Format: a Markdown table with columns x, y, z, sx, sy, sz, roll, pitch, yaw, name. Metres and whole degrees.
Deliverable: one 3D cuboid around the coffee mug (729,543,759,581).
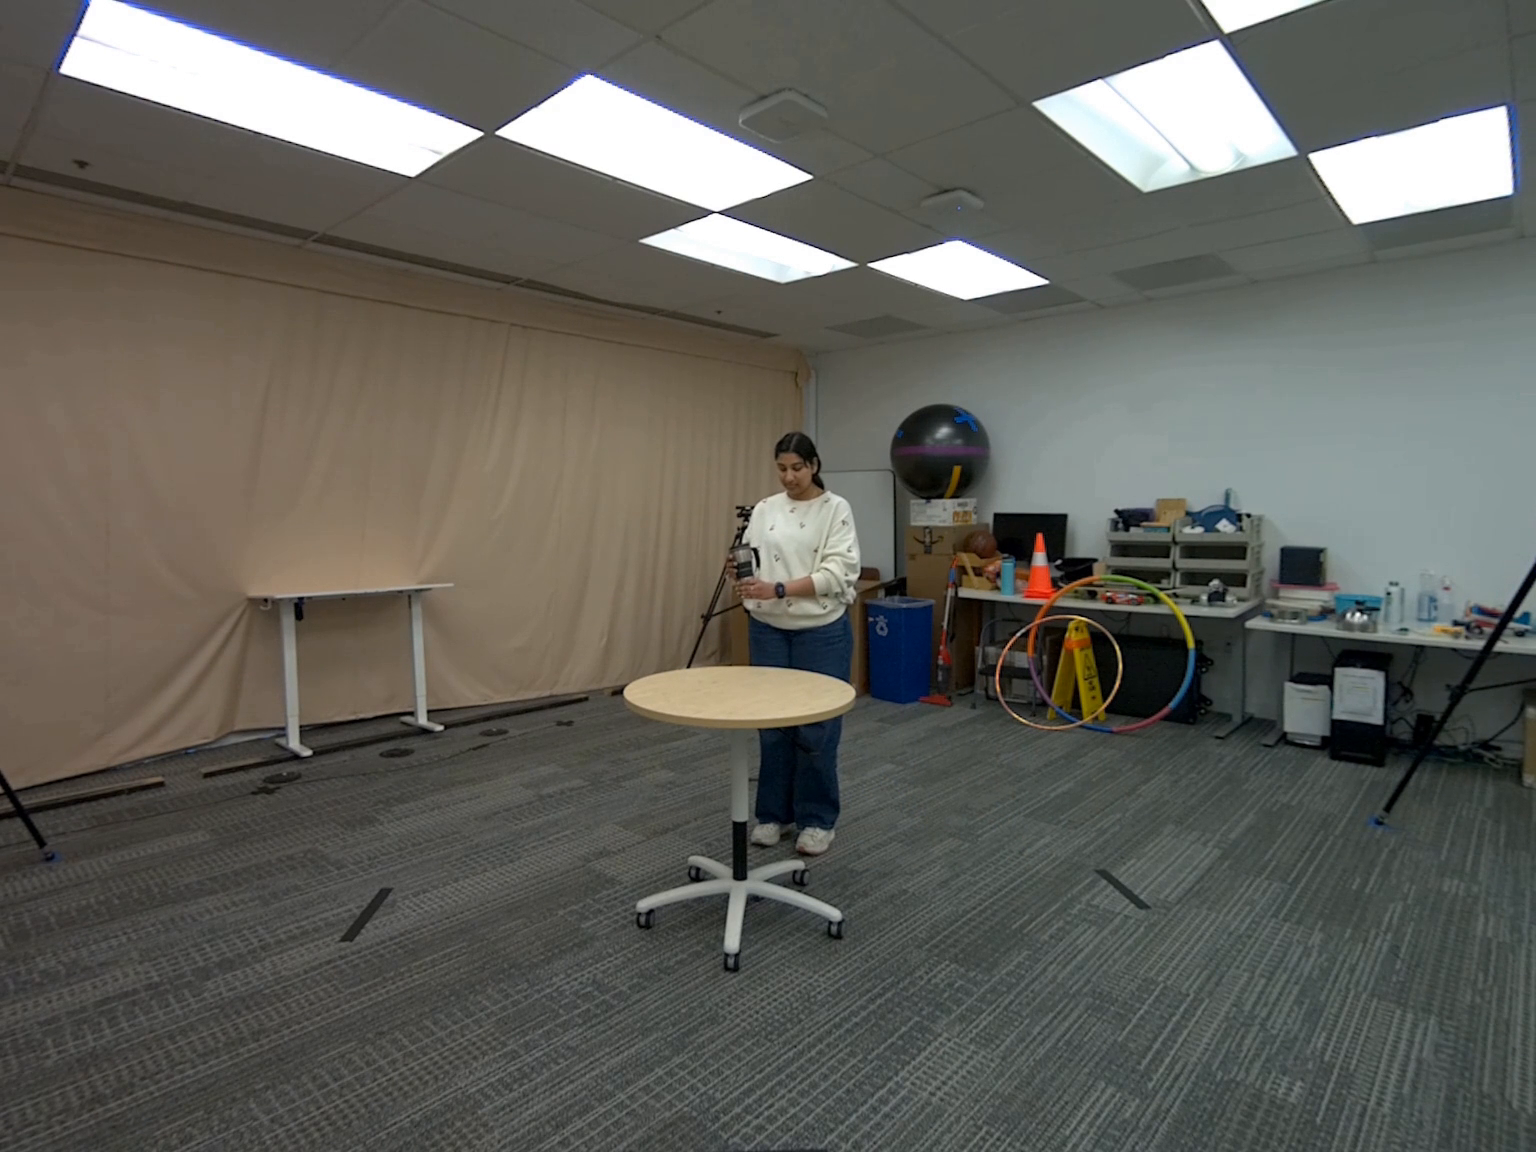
| x | y | z | sx | sy | sz | roll | pitch | yaw | name |
| --- | --- | --- | --- | --- | --- | --- | --- | --- | --- |
| -0.070 | -0.025 | 3.279 | 0.121 | 0.203 | 0.088 | -11 | -2 | -9 | coffee mug |
